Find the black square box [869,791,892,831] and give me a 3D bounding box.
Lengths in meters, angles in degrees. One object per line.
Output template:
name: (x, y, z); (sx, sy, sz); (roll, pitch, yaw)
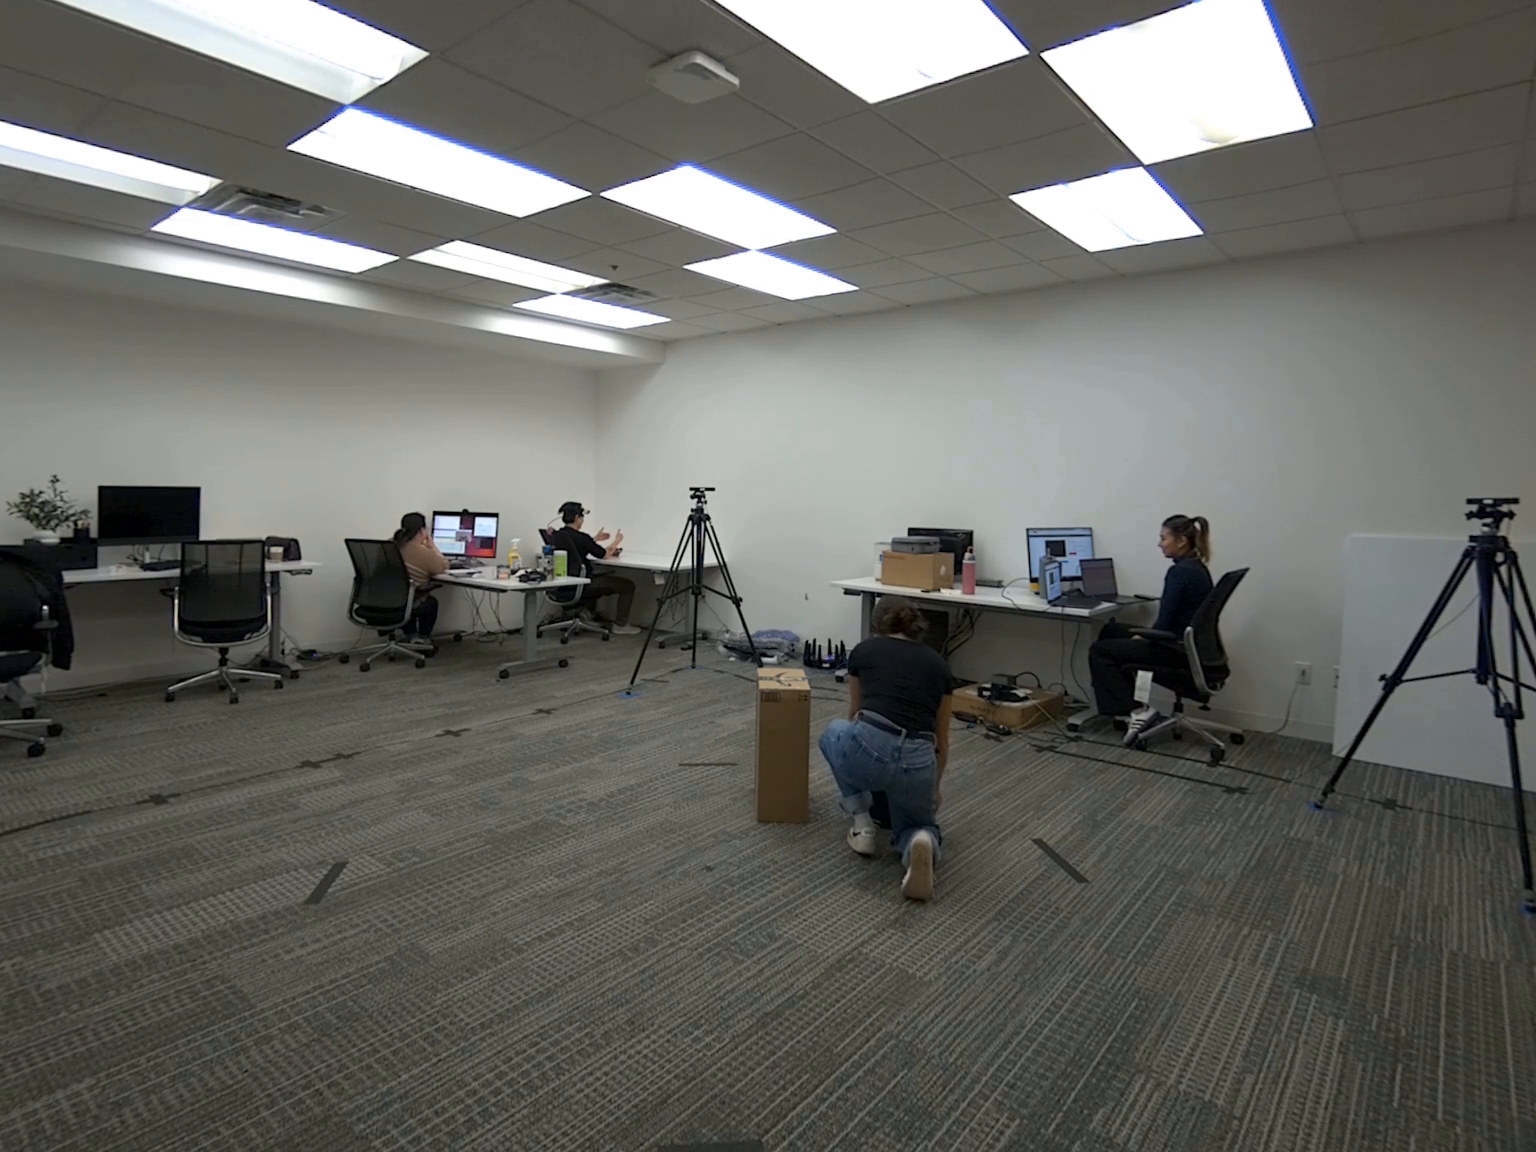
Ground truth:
black square box: (0.506, 0.910, 3.568); (0.220, 0.227, 0.154); (1, 5, 11)
